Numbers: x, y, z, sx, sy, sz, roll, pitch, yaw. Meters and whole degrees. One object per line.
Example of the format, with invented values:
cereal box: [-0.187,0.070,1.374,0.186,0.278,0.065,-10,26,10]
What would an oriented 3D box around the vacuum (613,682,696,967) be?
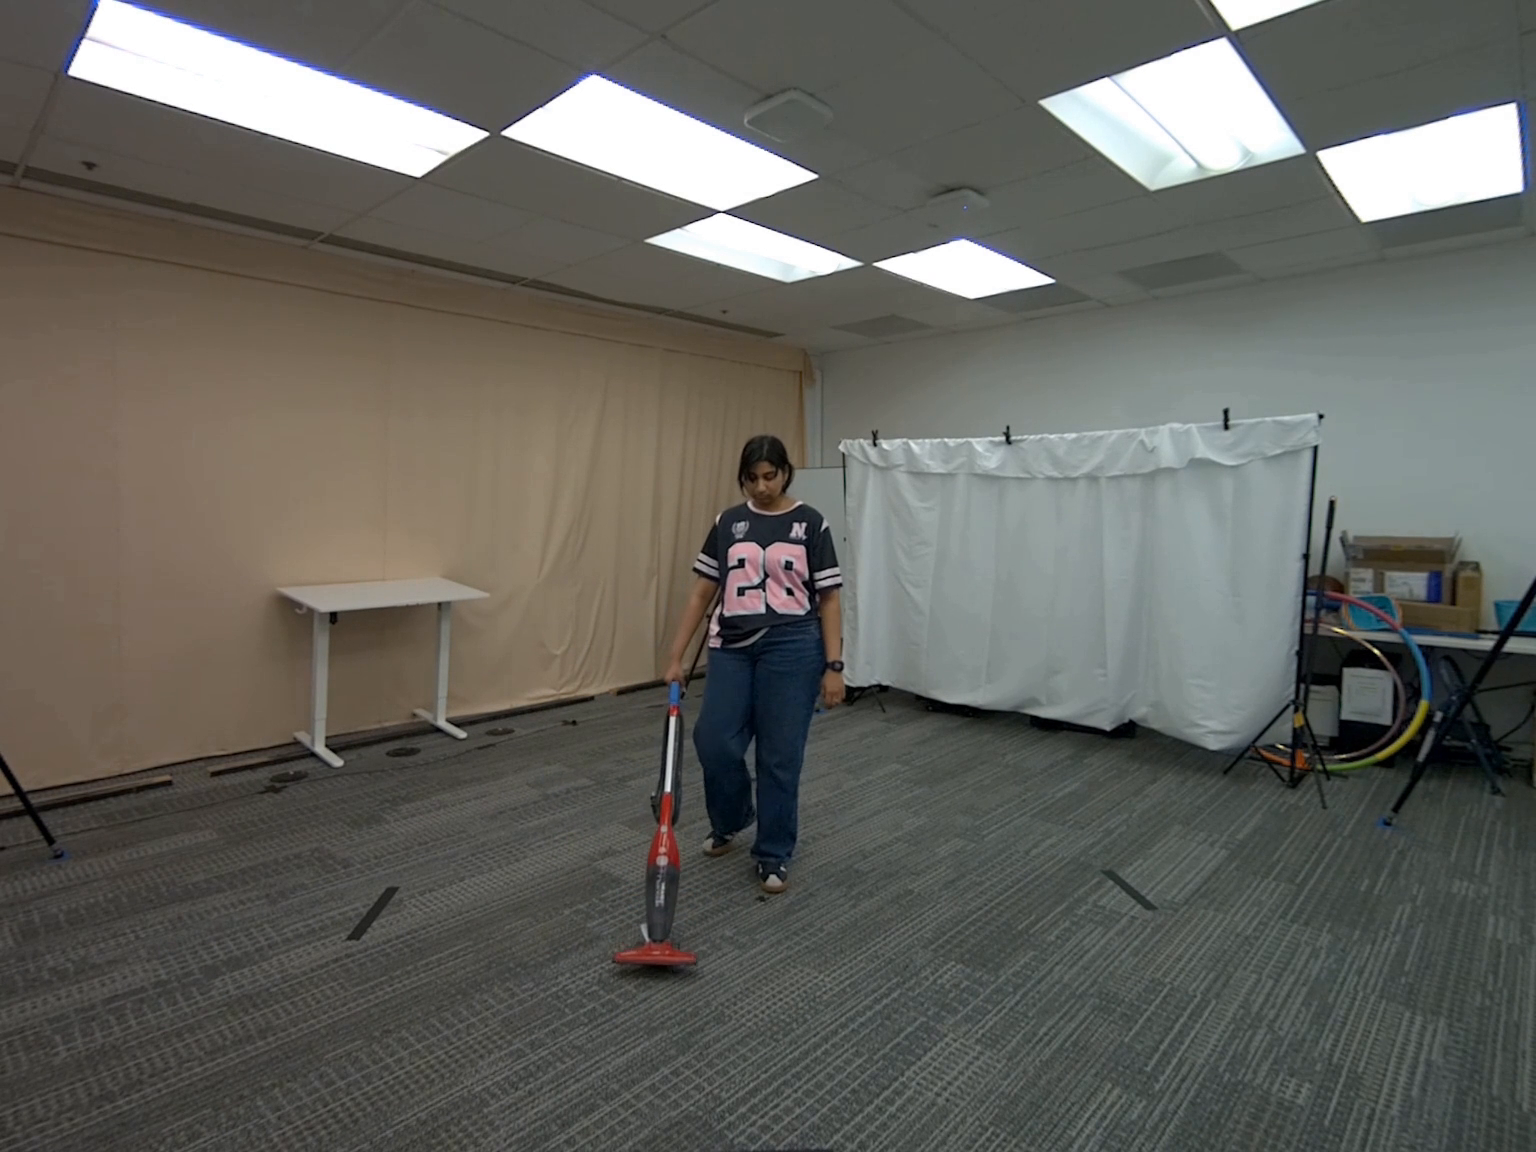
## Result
vacuum: [-0.338,0.765,2.889,0.253,1.068,0.141,0,-42,1]
